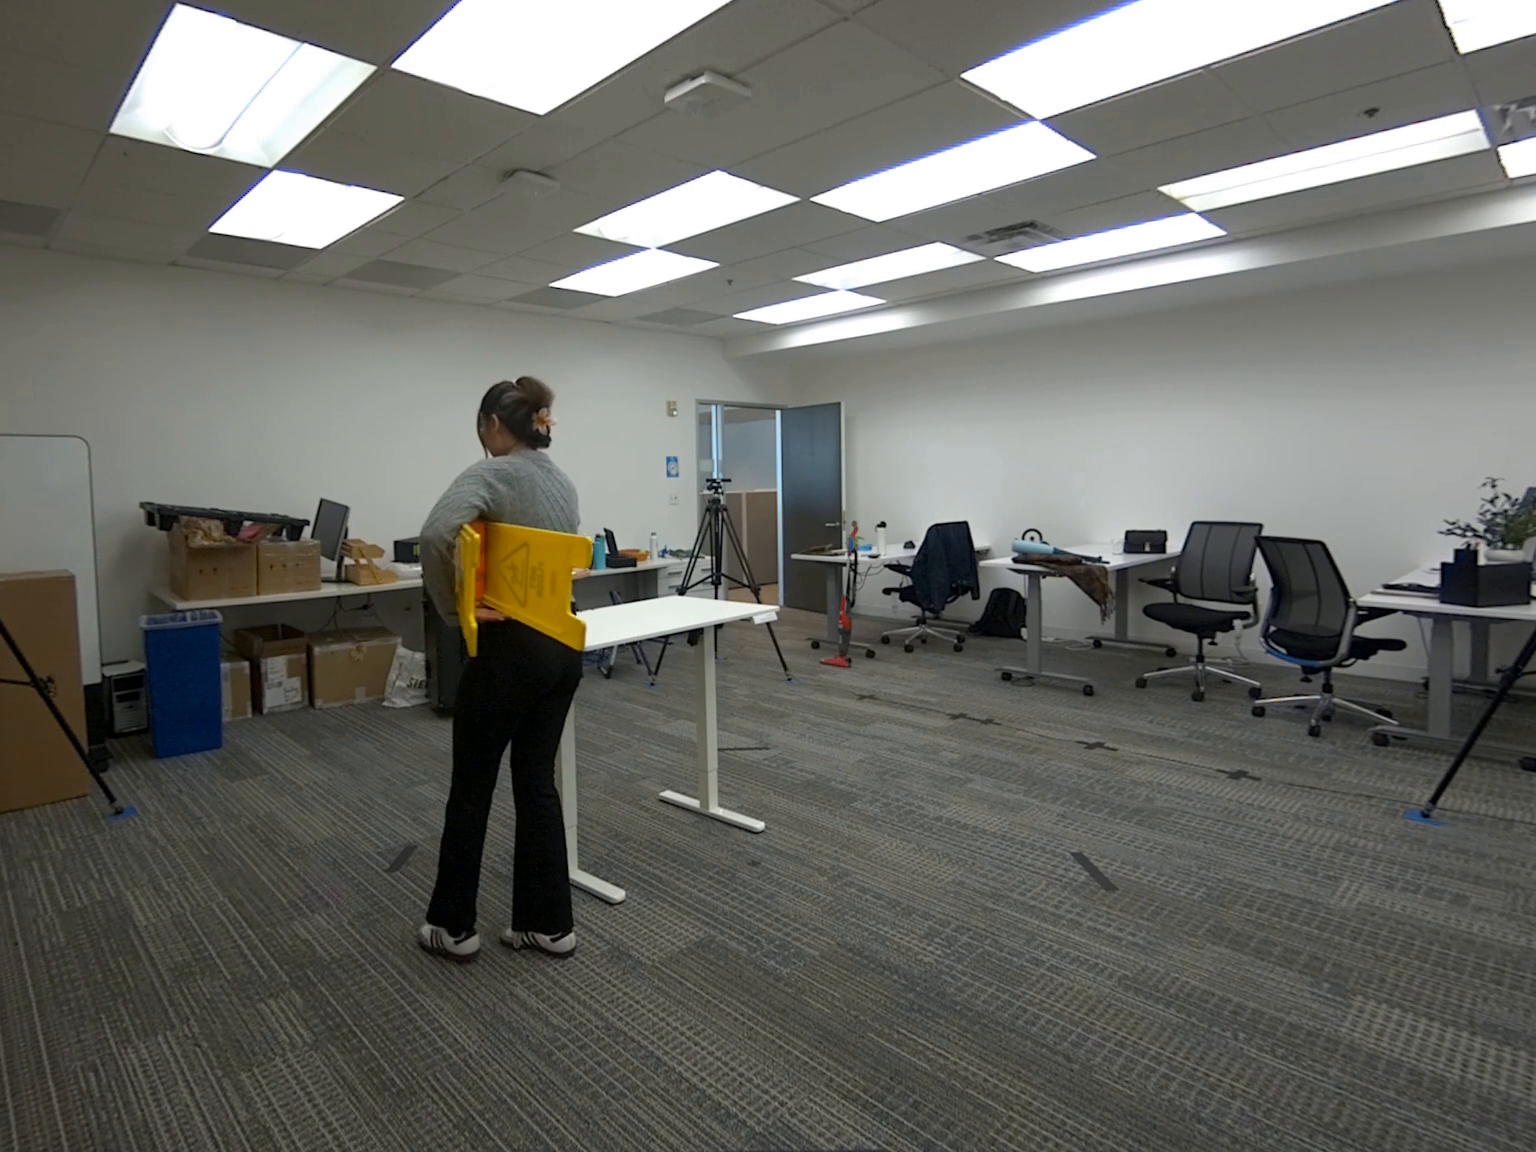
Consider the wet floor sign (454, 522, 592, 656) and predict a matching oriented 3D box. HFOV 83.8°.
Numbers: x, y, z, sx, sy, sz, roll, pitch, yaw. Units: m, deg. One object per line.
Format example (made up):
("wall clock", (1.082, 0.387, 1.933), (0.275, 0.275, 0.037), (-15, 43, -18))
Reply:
("wet floor sign", (-0.736, -0.006, 2.251), (0.282, 0.280, 0.668), (-1, 11, -35))
